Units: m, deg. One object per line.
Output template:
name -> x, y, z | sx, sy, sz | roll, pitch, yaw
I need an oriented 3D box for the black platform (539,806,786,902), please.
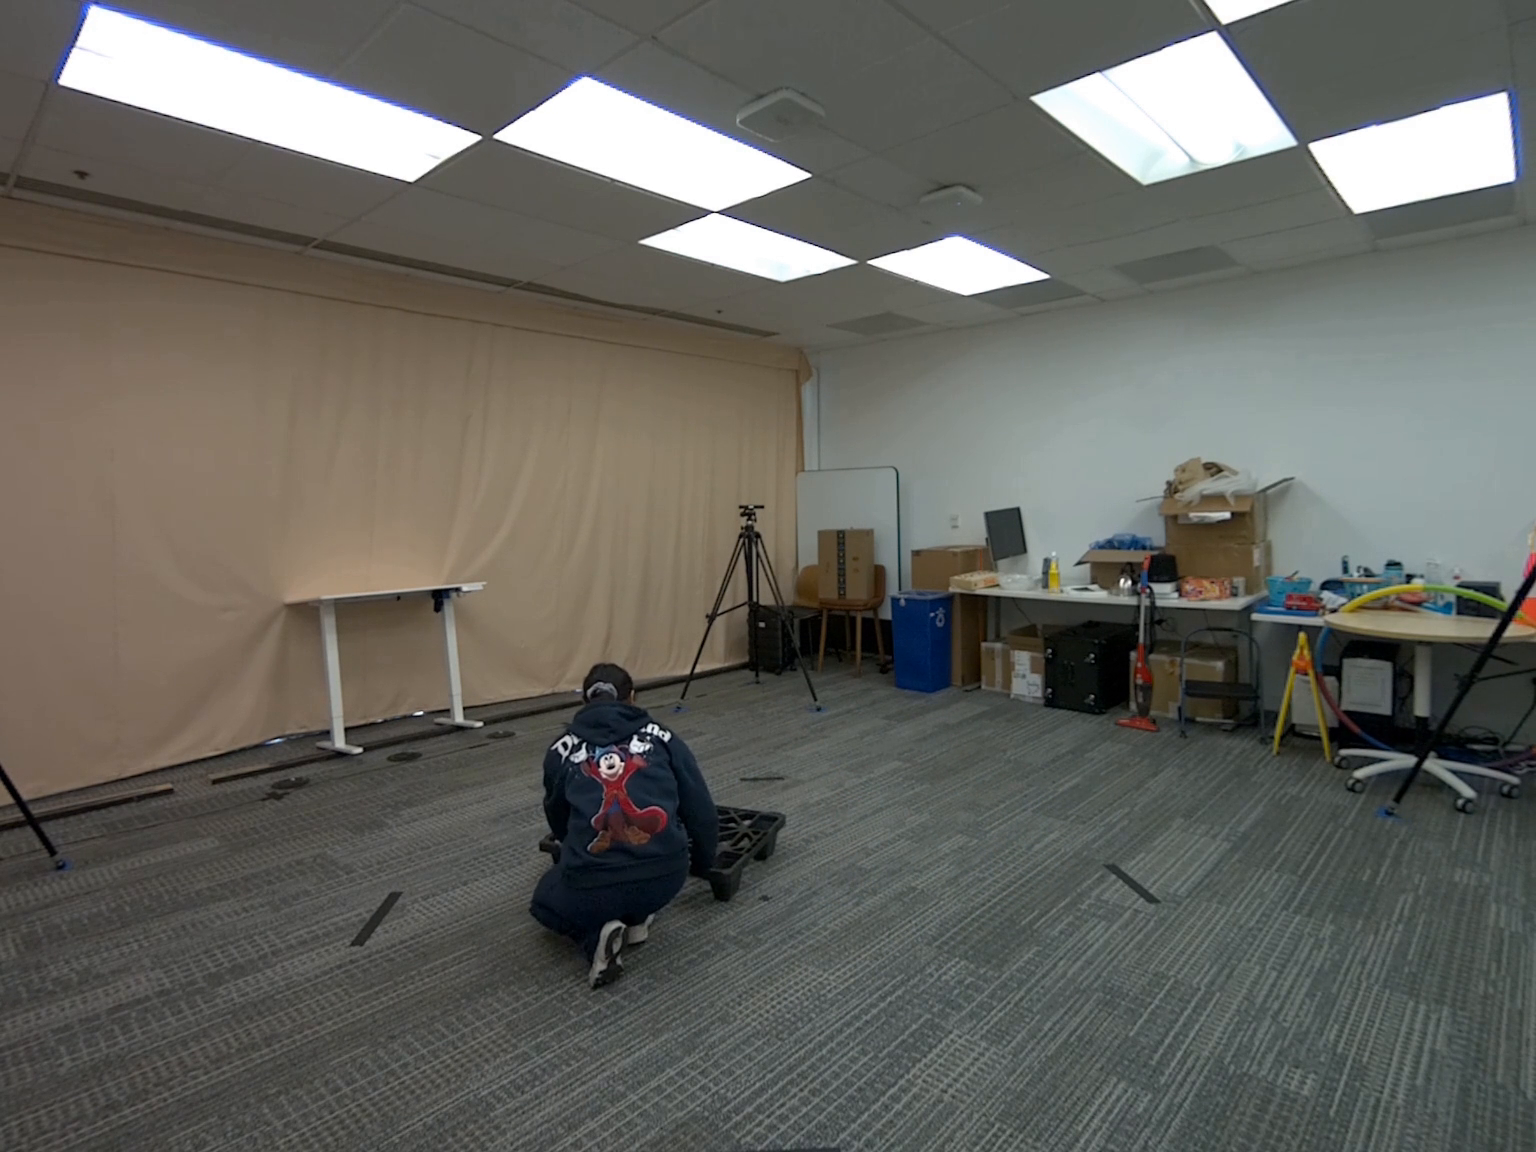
black platform -> -0.394, 1.053, 3.309 | 0.825, 0.143, 0.592 | 0, 5, 23
